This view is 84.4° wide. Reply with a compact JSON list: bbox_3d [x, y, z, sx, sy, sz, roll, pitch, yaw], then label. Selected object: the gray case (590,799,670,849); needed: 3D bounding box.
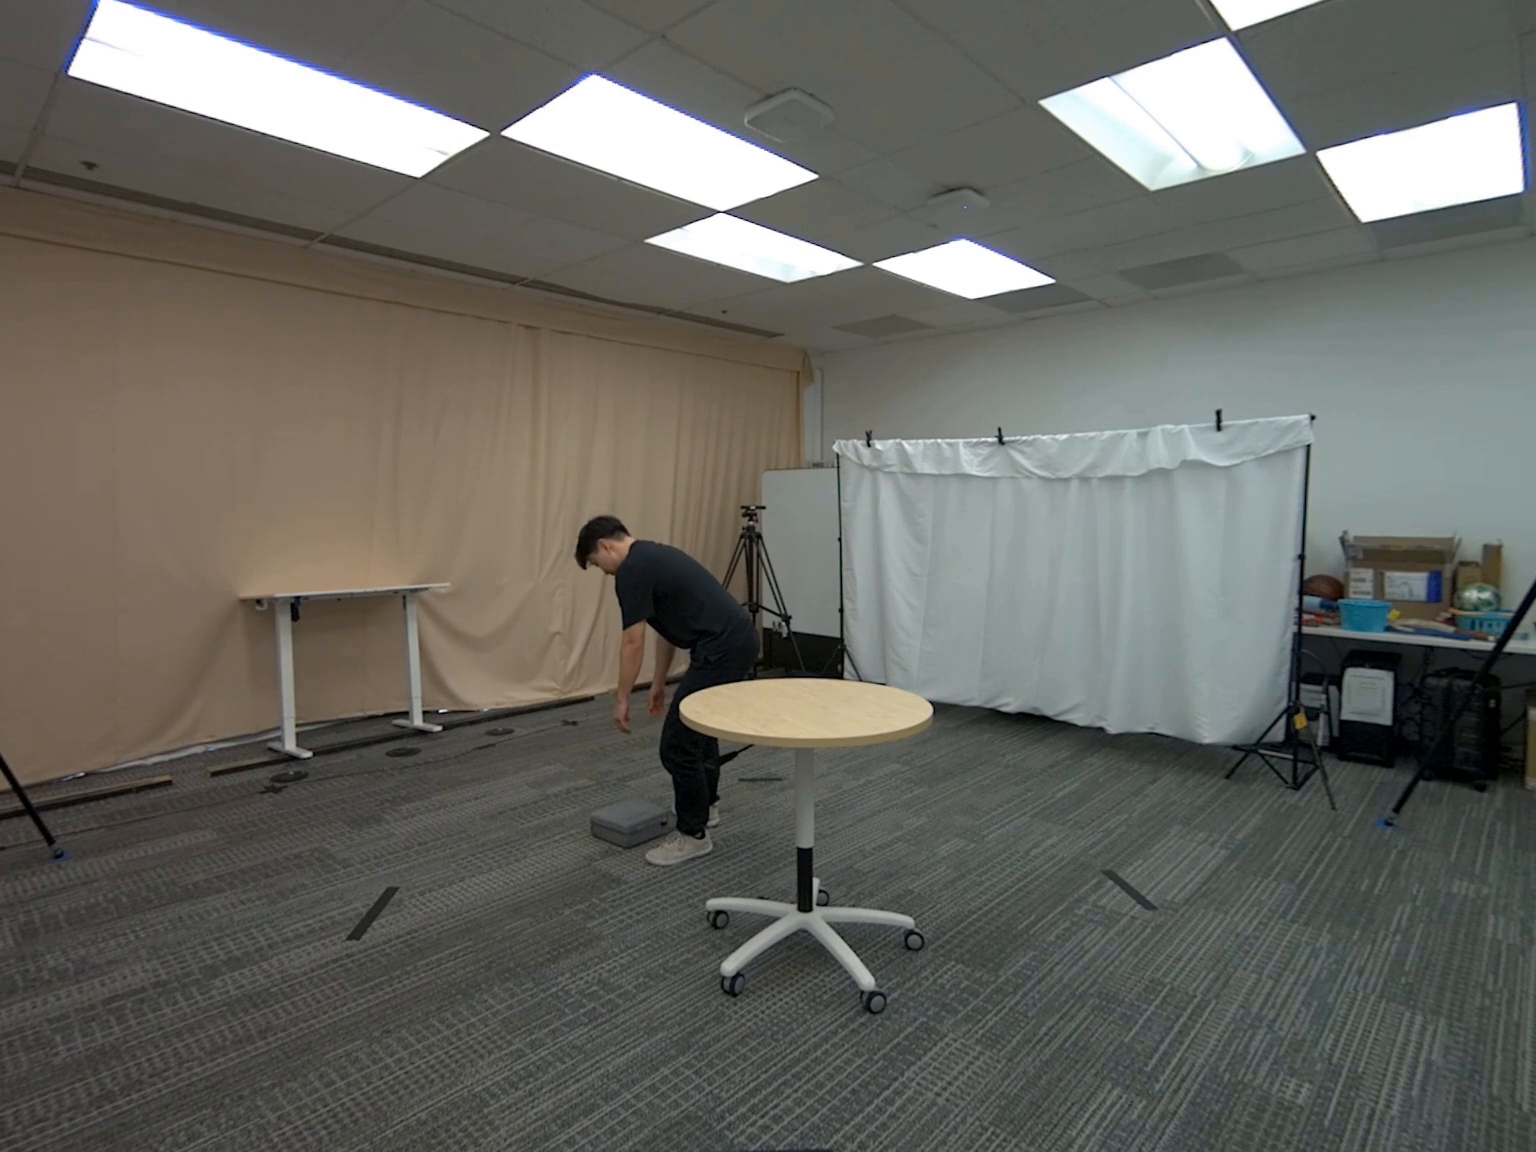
[{"bbox_3d":[-0.592,1.039,3.579,0.269,0.104,0.249,1,6,41],"label":"gray case"}]
